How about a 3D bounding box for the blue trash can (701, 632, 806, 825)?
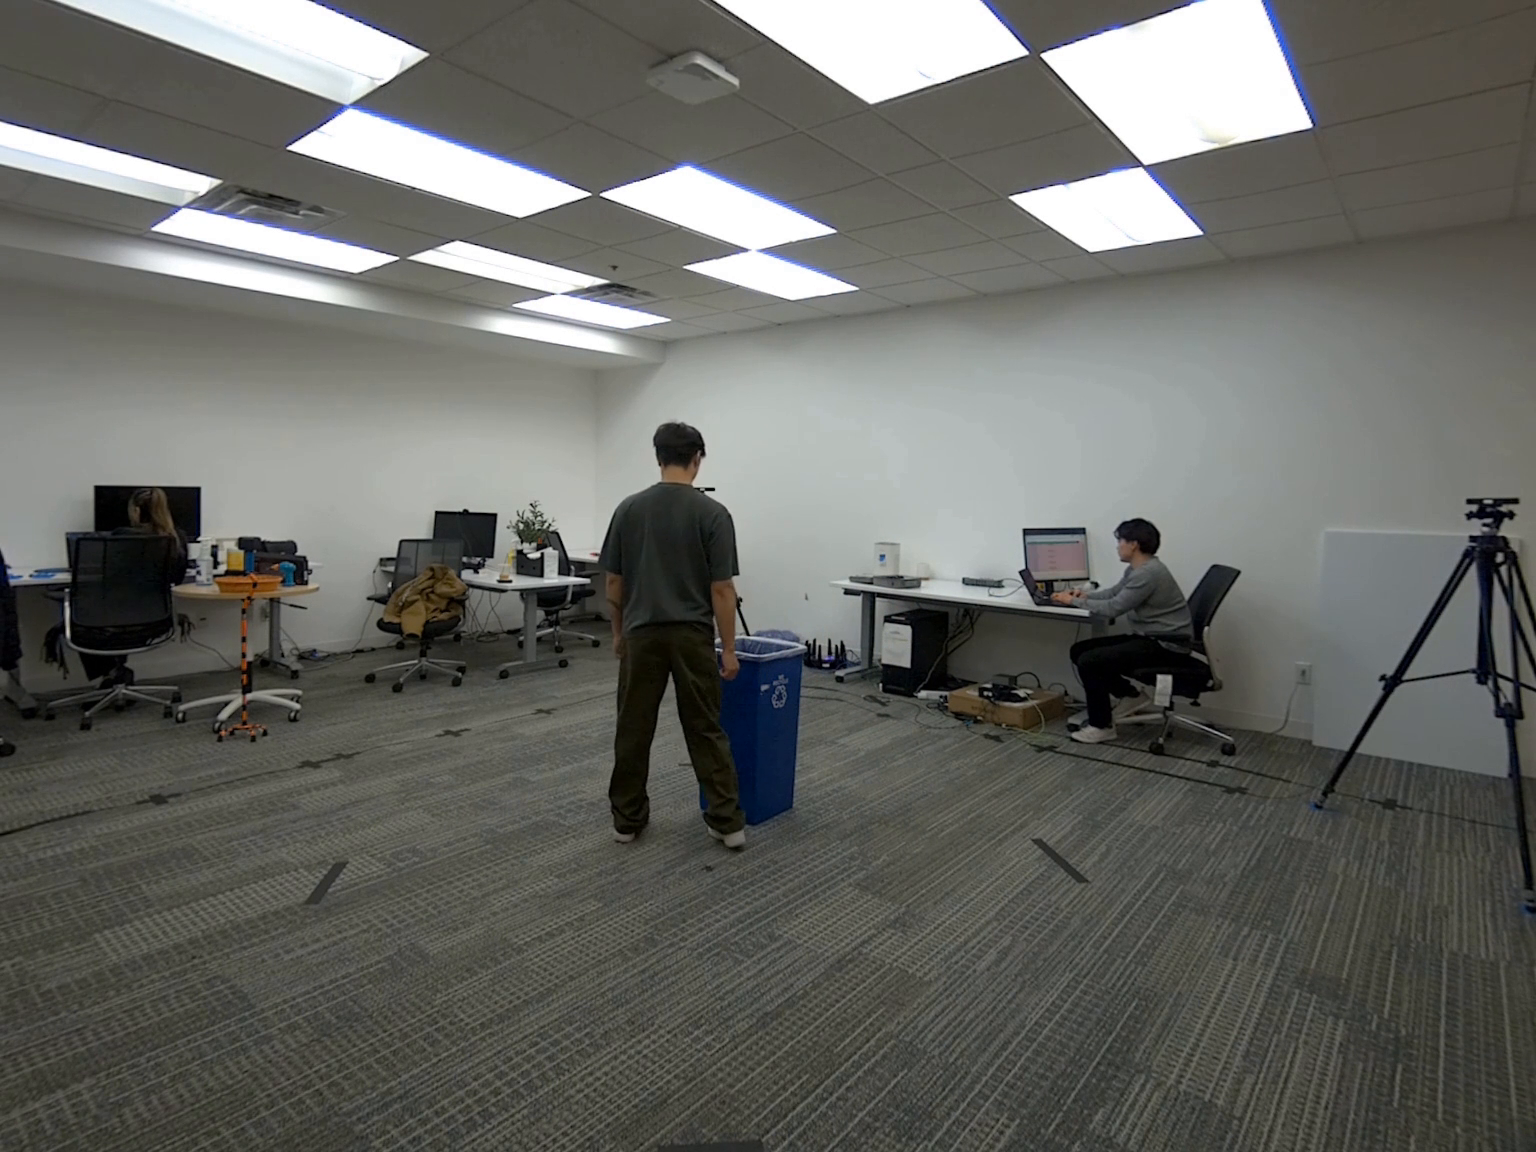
[{"bbox_3d":[-0.095,0.654,3.710,0.386,0.712,0.367,5,4,36],"label":"blue trash can"}]
